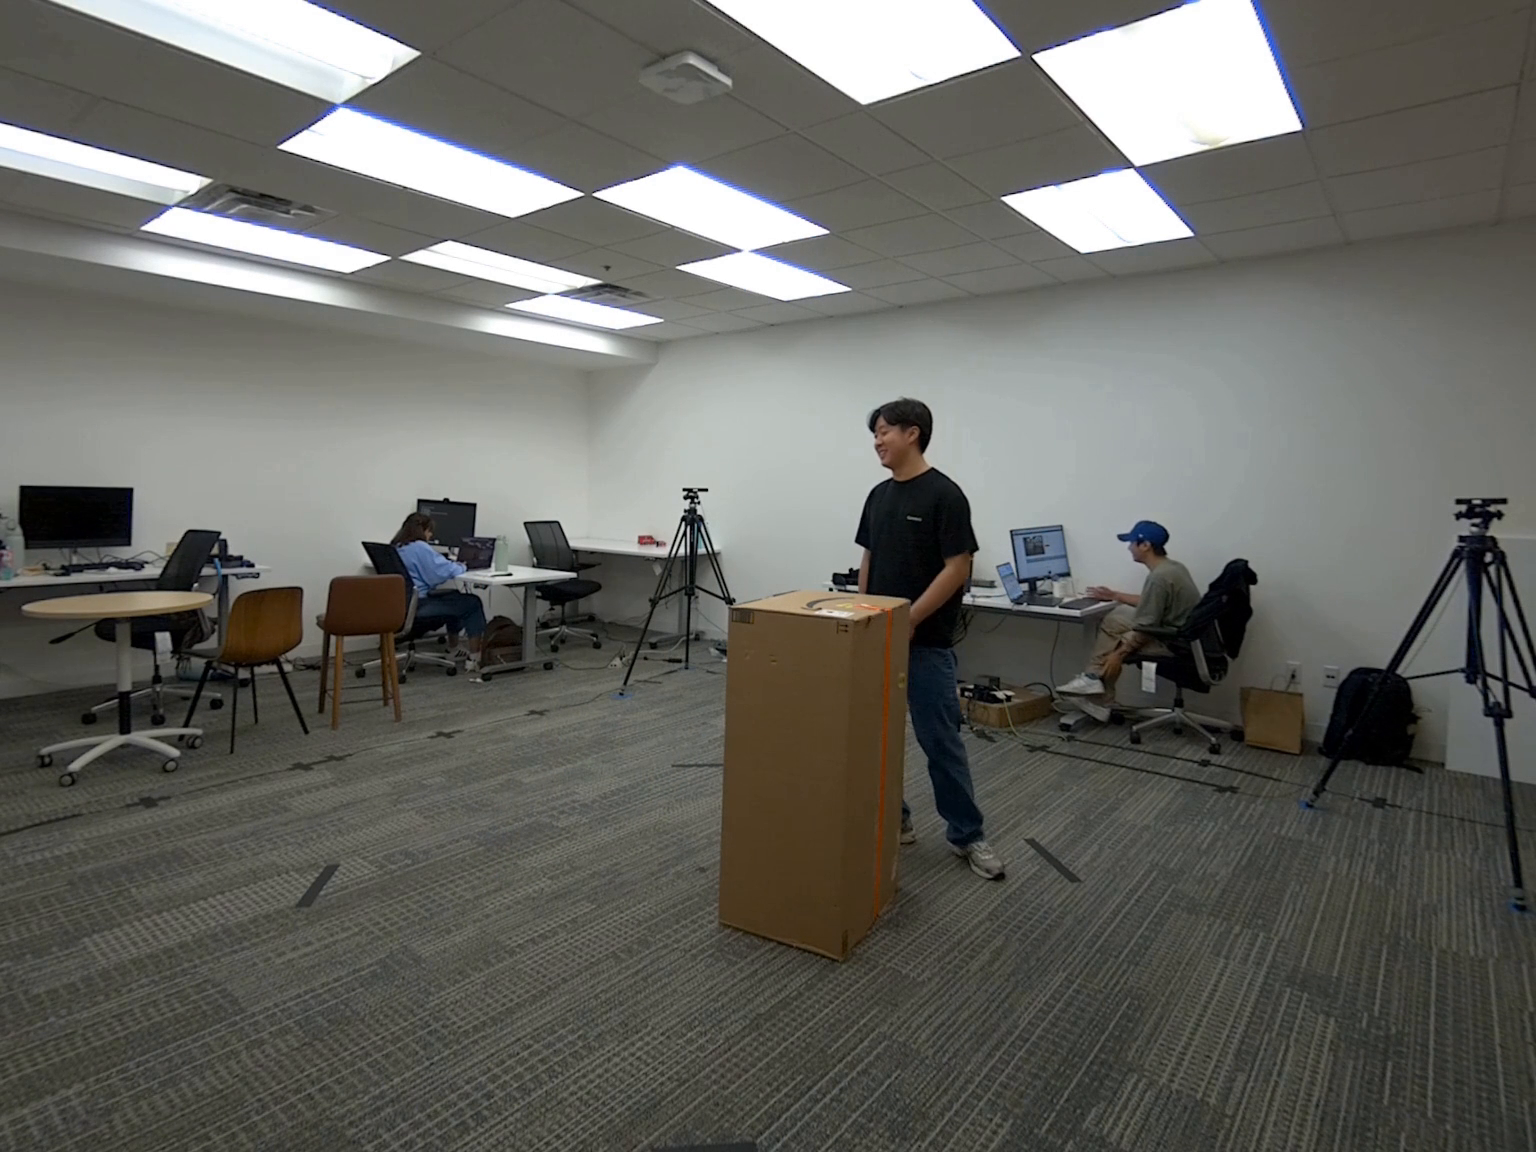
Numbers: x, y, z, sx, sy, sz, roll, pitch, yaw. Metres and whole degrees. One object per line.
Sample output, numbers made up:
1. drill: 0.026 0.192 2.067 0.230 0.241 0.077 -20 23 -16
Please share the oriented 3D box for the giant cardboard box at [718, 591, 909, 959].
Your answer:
1. giant cardboard box: 0.161 0.592 2.833 0.460 1.024 0.569 4 4 28
